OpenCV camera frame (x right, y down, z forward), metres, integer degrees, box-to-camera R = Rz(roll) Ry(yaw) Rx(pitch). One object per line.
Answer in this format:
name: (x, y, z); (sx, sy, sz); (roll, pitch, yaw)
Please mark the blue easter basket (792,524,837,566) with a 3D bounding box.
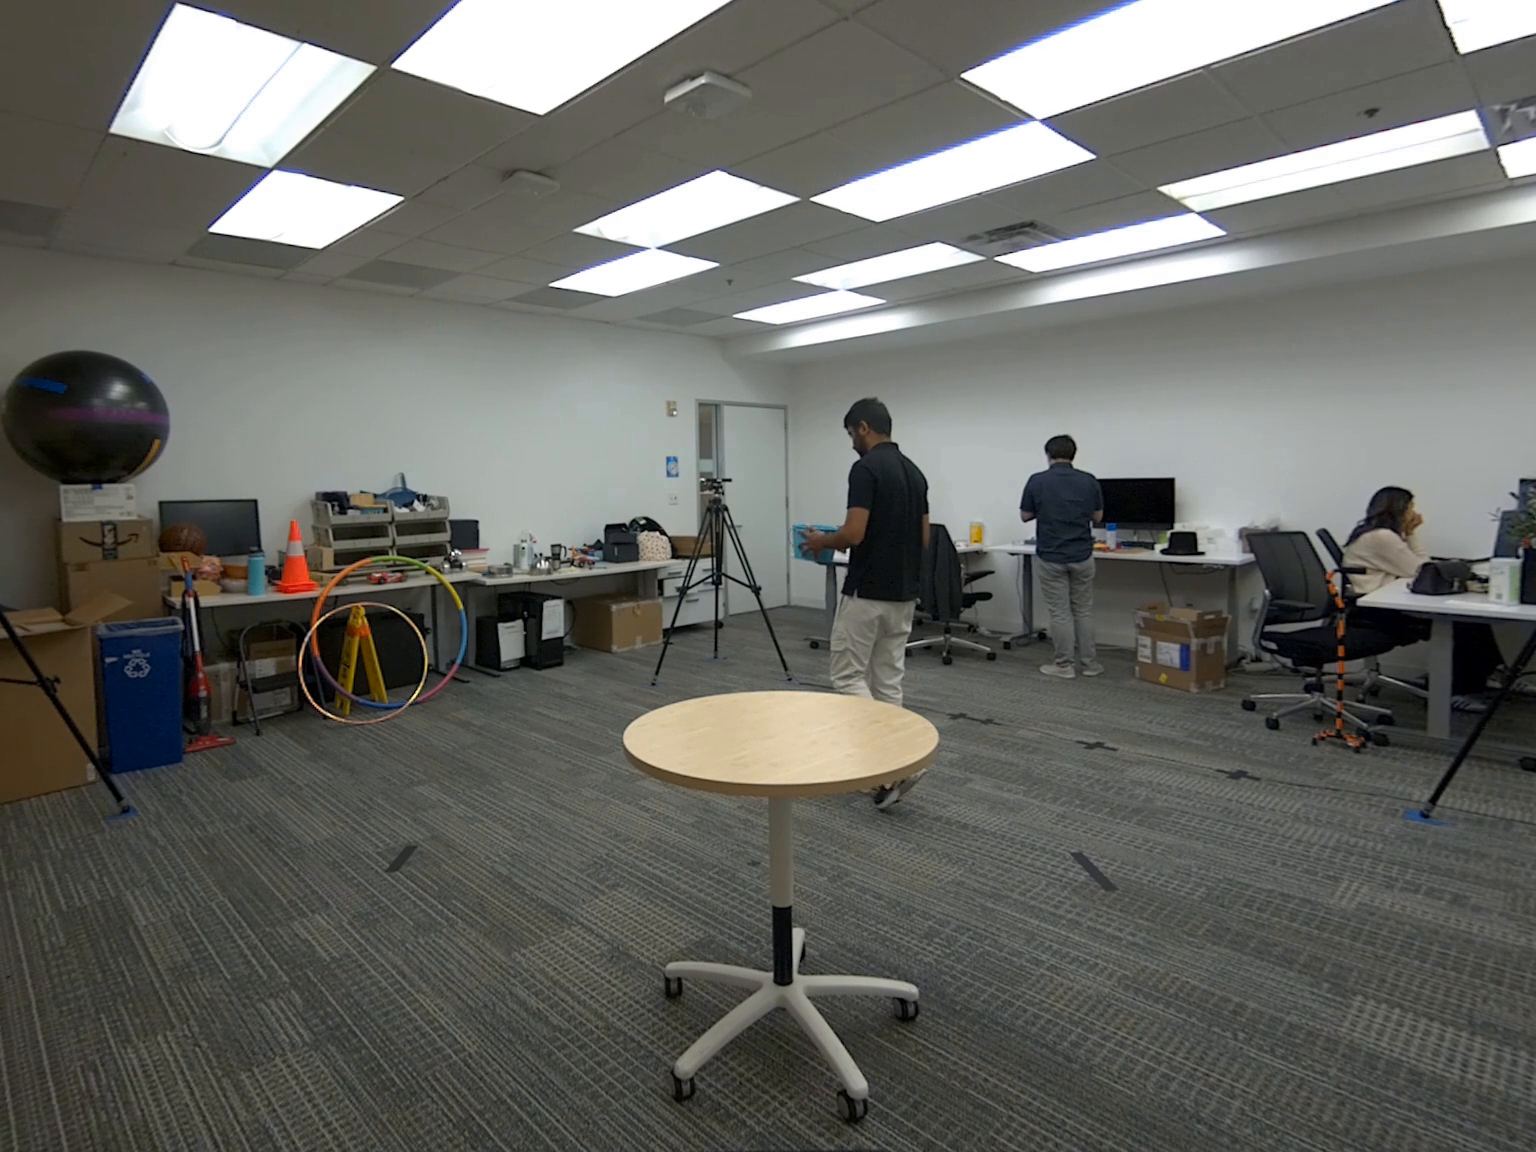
blue easter basket: (0.246, -0.149, 3.956); (0.243, 0.155, 0.245); (4, 7, -2)
